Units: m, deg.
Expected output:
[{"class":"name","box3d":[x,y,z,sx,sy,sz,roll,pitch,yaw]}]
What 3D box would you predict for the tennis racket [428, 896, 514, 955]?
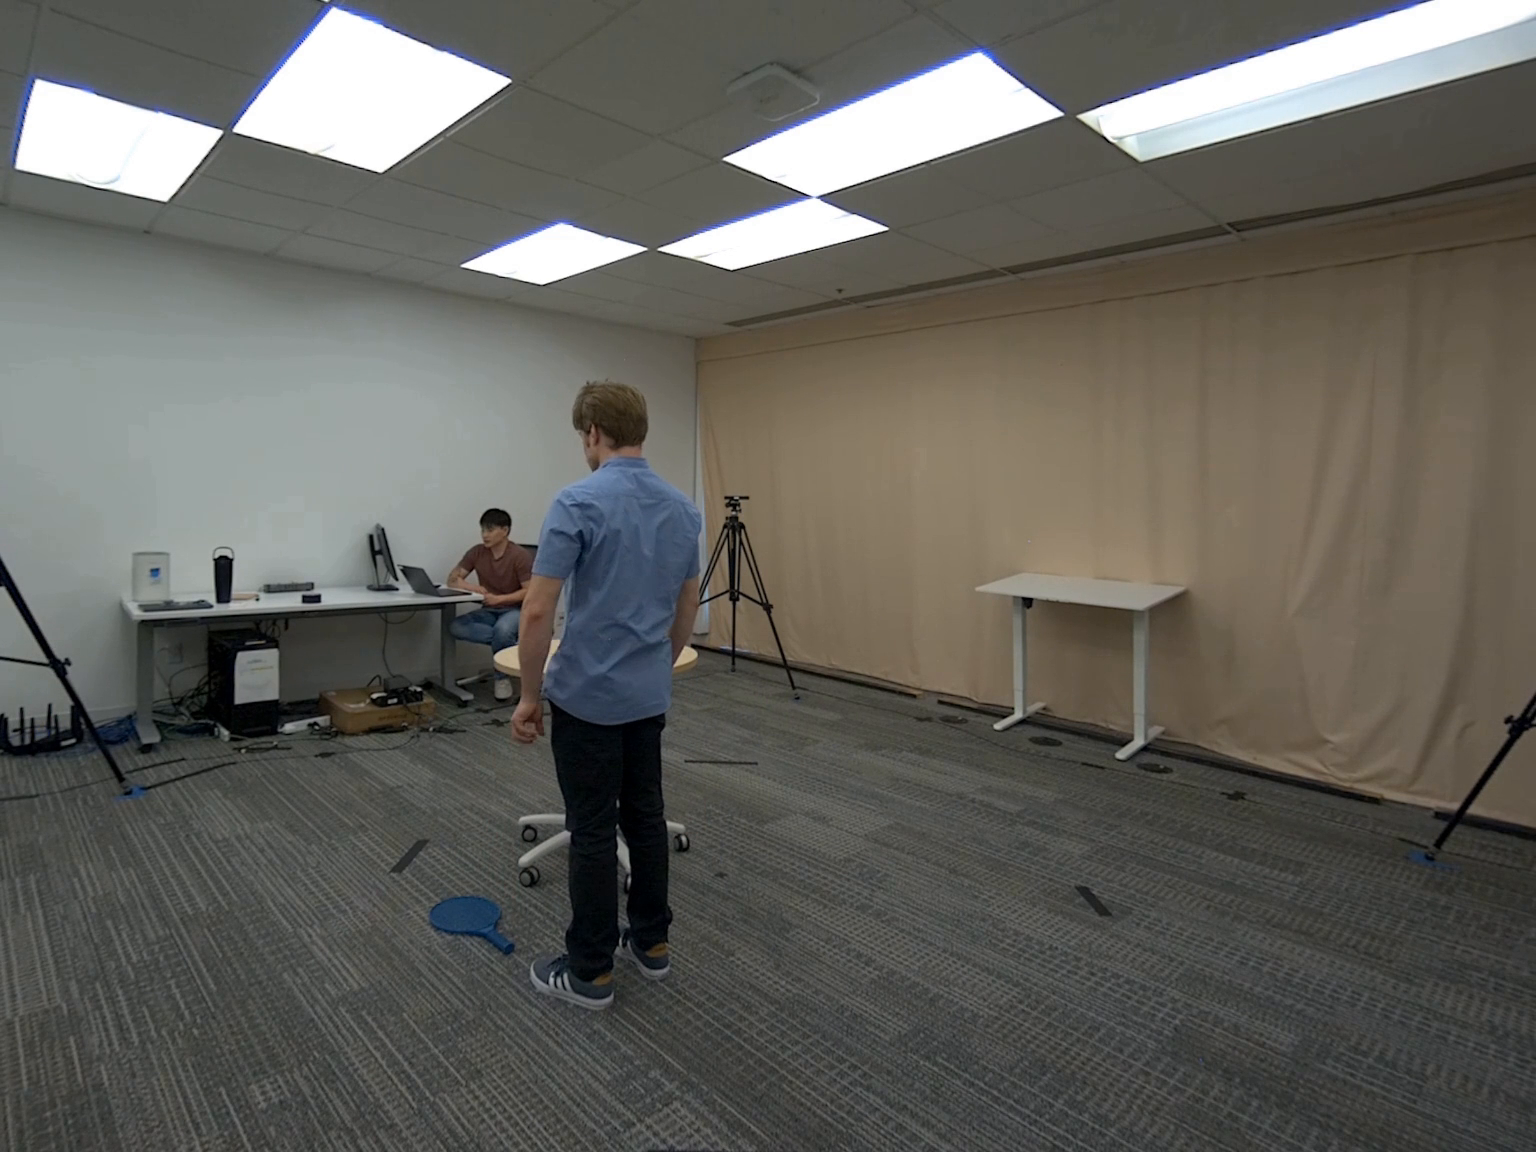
[{"class":"tennis racket","box3d":[-0.940,1.115,2.692,0.444,0.032,0.209,5,6,44]}]
